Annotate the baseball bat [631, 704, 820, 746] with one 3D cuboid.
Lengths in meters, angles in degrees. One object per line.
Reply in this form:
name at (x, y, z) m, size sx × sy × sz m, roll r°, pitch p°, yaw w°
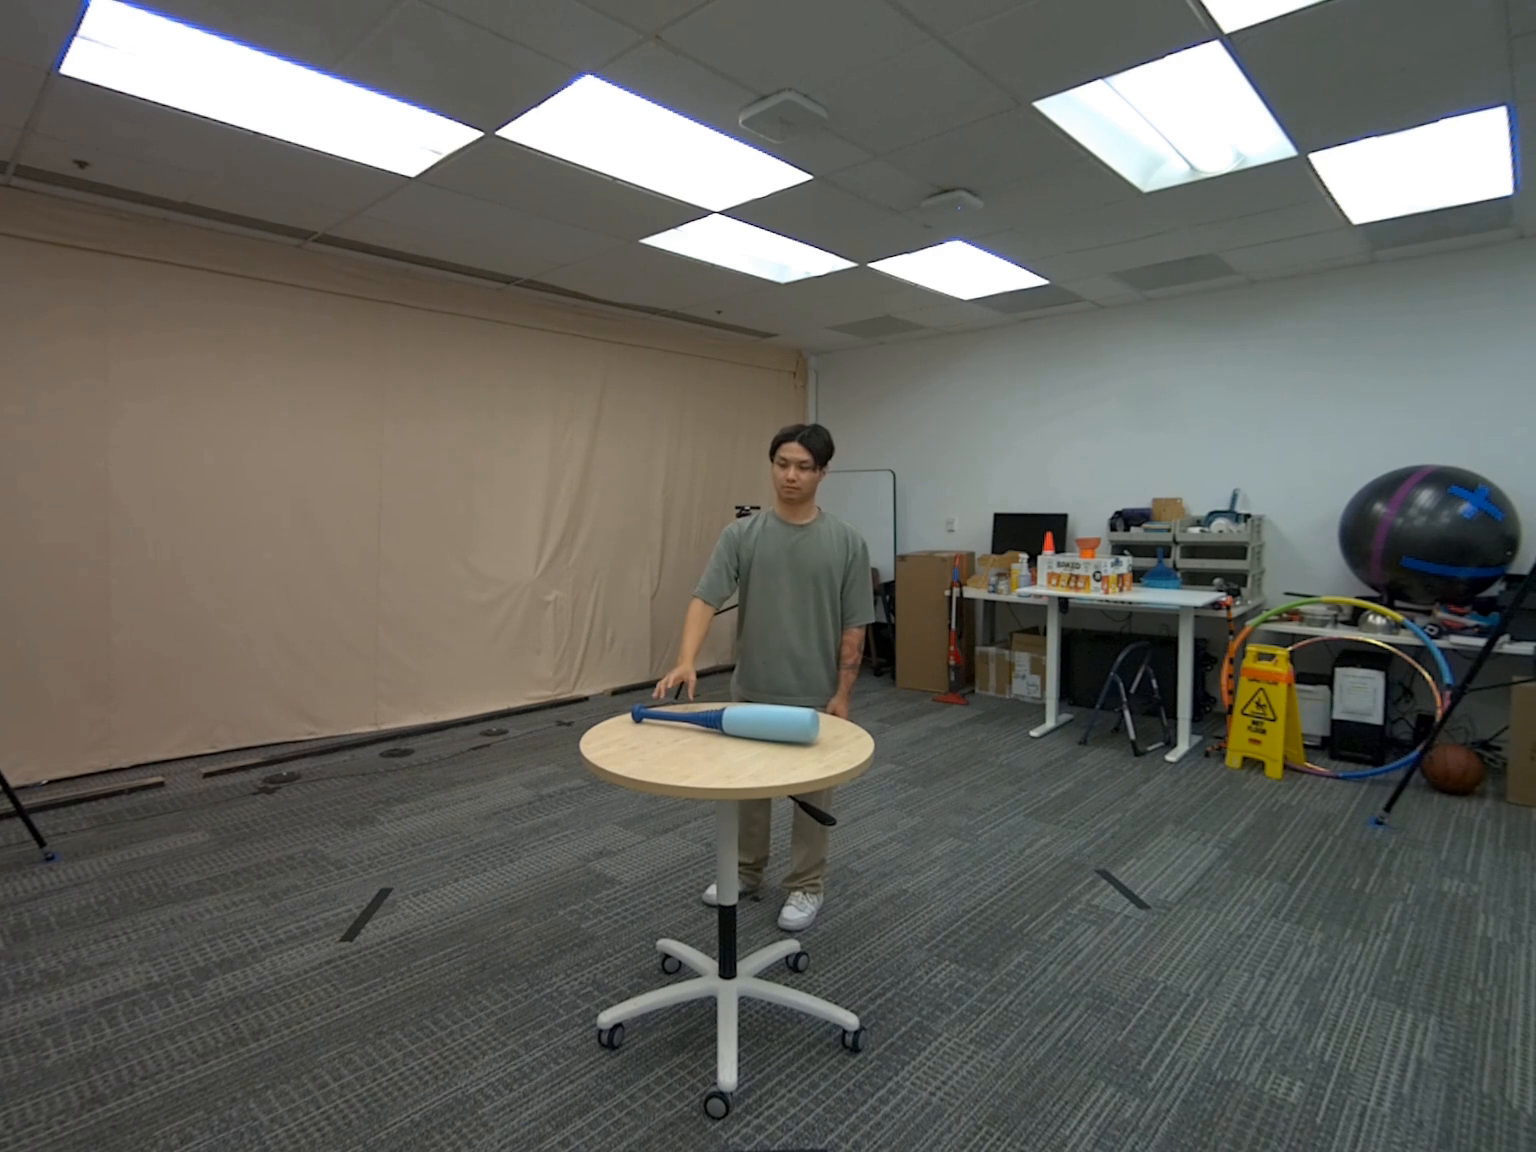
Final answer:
baseball bat at (-0.127, 0.387, 2.254) m, size 0.556 × 0.089 × 0.087 m, roll -1°, pitch 3°, yaw 25°
